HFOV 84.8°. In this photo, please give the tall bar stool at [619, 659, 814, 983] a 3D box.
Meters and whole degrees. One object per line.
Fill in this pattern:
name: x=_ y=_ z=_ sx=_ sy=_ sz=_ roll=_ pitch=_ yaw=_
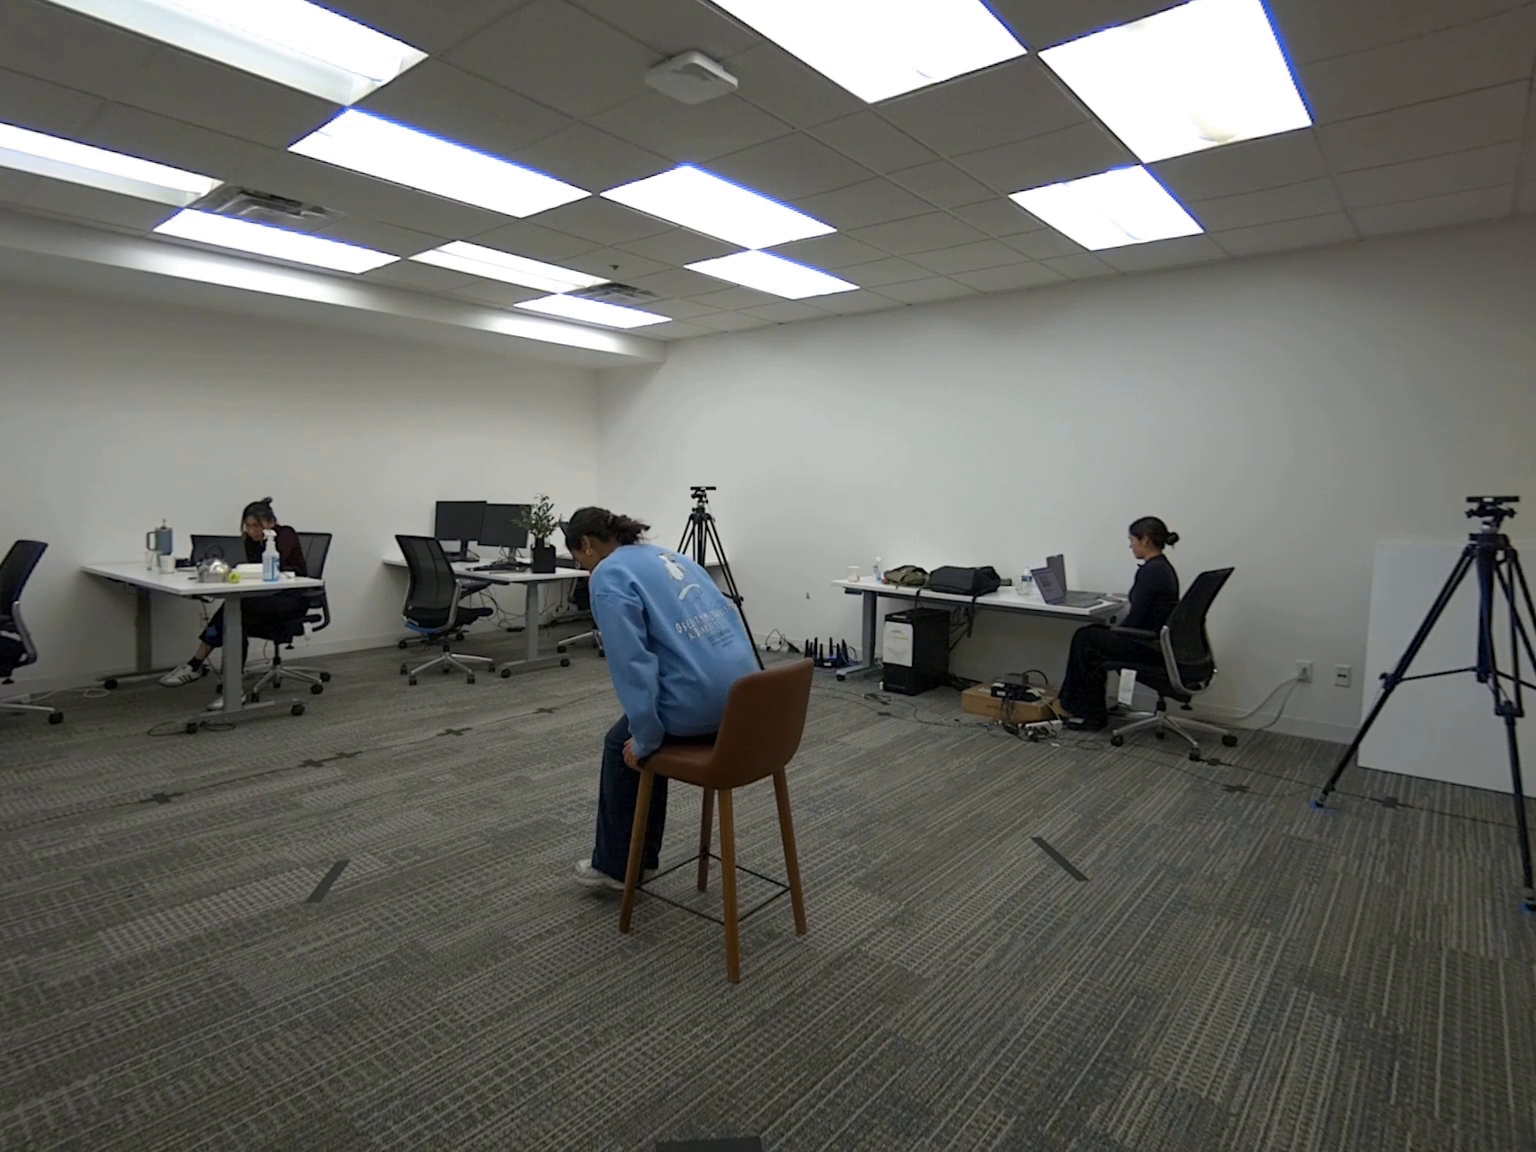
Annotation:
tall bar stool: x=-0.157 y=0.677 z=2.633 sx=0.483 sy=0.886 sz=0.443 roll=6 pitch=5 yaw=37
